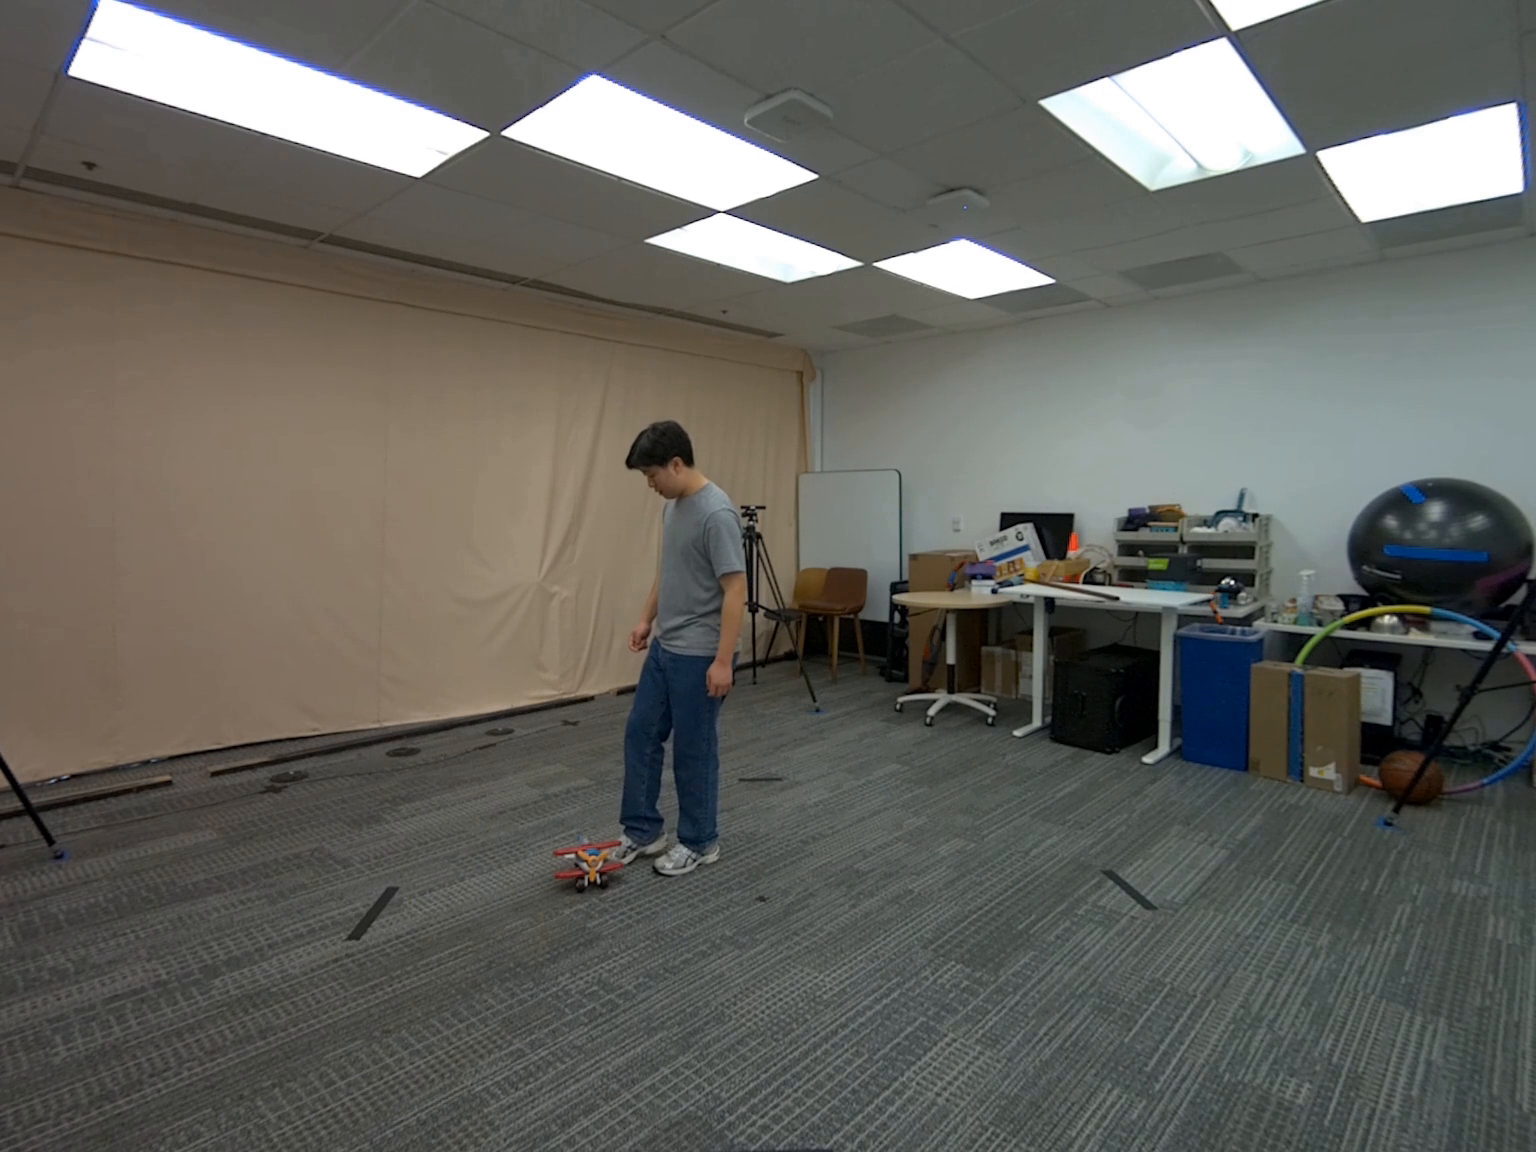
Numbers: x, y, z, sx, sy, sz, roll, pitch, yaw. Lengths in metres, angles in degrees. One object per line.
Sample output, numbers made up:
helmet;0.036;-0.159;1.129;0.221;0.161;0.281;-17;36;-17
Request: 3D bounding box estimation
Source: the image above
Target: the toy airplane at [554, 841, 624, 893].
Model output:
toy airplane;-0.698;1.067;3.133;0.268;0.156;0.243;3;5;39
